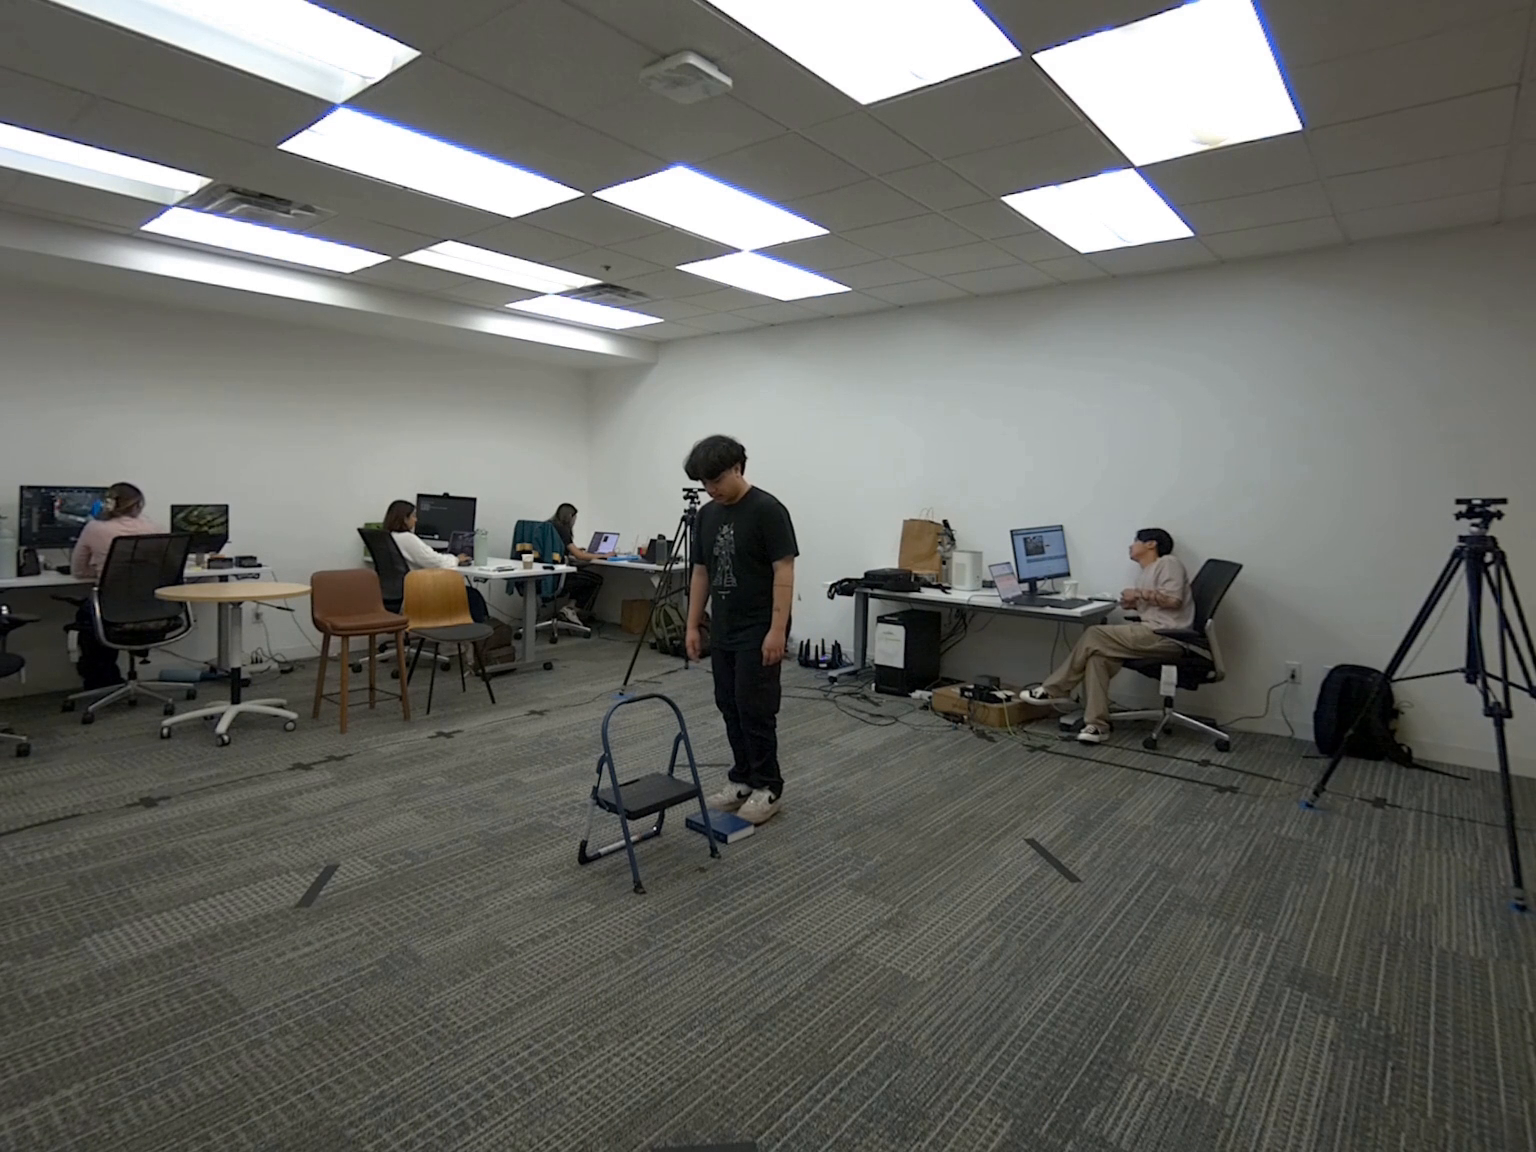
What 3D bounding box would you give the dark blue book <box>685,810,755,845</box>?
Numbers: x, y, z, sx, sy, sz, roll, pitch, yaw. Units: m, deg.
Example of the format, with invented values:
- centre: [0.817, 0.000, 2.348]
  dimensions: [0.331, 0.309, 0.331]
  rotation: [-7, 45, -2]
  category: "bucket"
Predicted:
- centre: [-0.206, 1.016, 3.469]
  dimensions: [0.253, 0.045, 0.158]
  rotation: [6, 7, 43]
  category: "dark blue book"
